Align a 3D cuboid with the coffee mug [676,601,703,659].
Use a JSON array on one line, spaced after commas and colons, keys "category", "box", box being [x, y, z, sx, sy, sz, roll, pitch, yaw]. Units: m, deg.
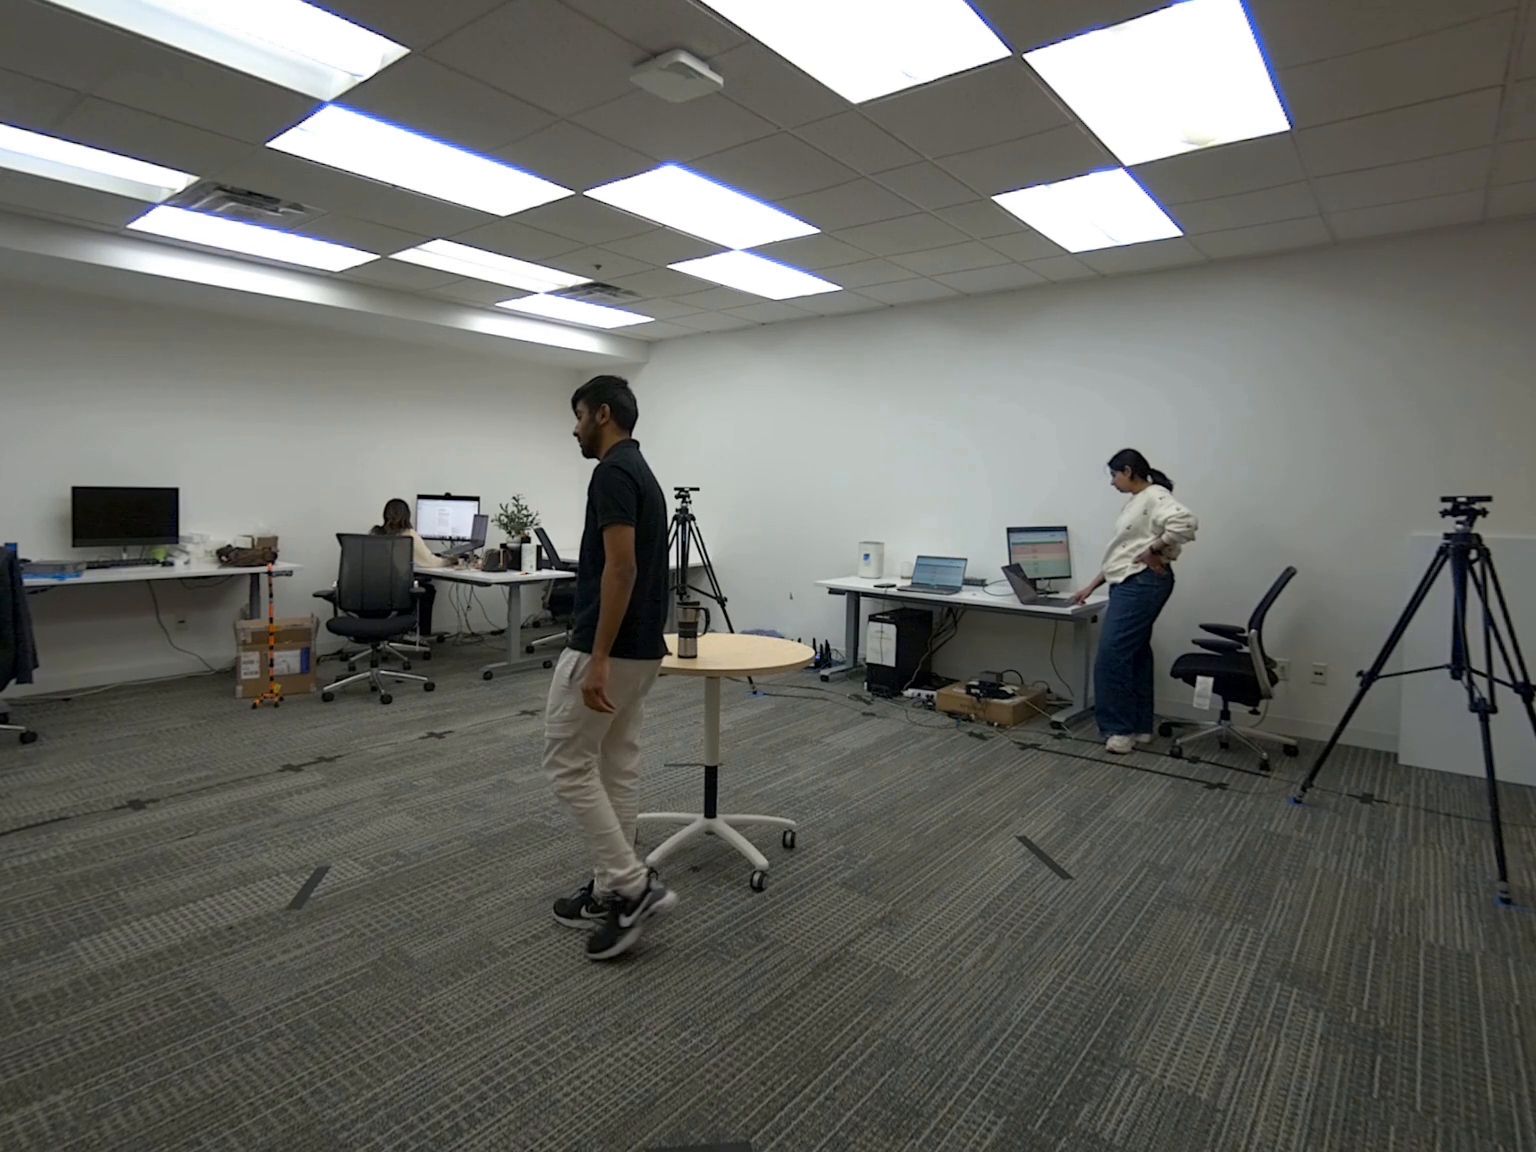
[{"category": "coffee mug", "box": [-0.279, 0.187, 3.019, 0.126, 0.203, 0.085, 2, -2, 42]}]
